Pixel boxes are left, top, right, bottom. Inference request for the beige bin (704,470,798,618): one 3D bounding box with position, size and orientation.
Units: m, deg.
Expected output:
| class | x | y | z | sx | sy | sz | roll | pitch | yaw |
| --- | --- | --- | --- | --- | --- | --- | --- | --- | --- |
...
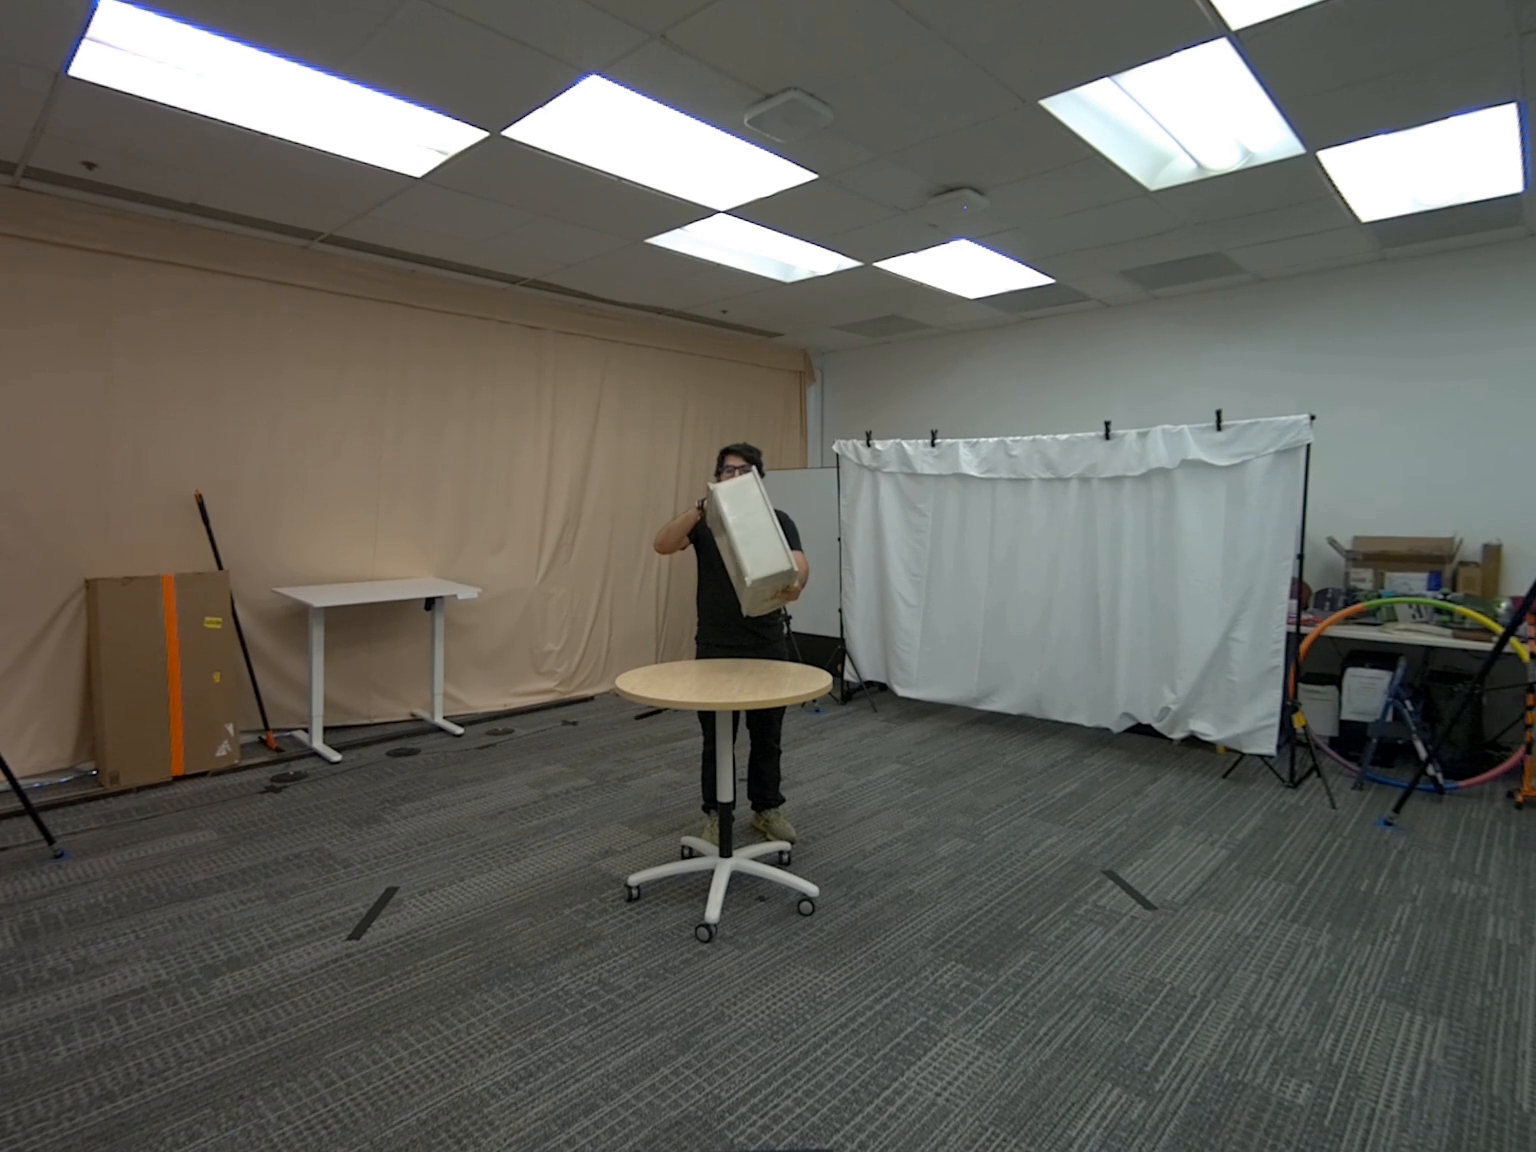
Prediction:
| class | x | y | z | sx | sy | sz | roll | pitch | yaw |
| --- | --- | --- | --- | --- | --- | --- | --- | --- | --- |
| beige bin | -0.059 | -0.111 | 3.044 | 0.187 | 0.430 | 0.374 | -17 | -20 | -12 |
